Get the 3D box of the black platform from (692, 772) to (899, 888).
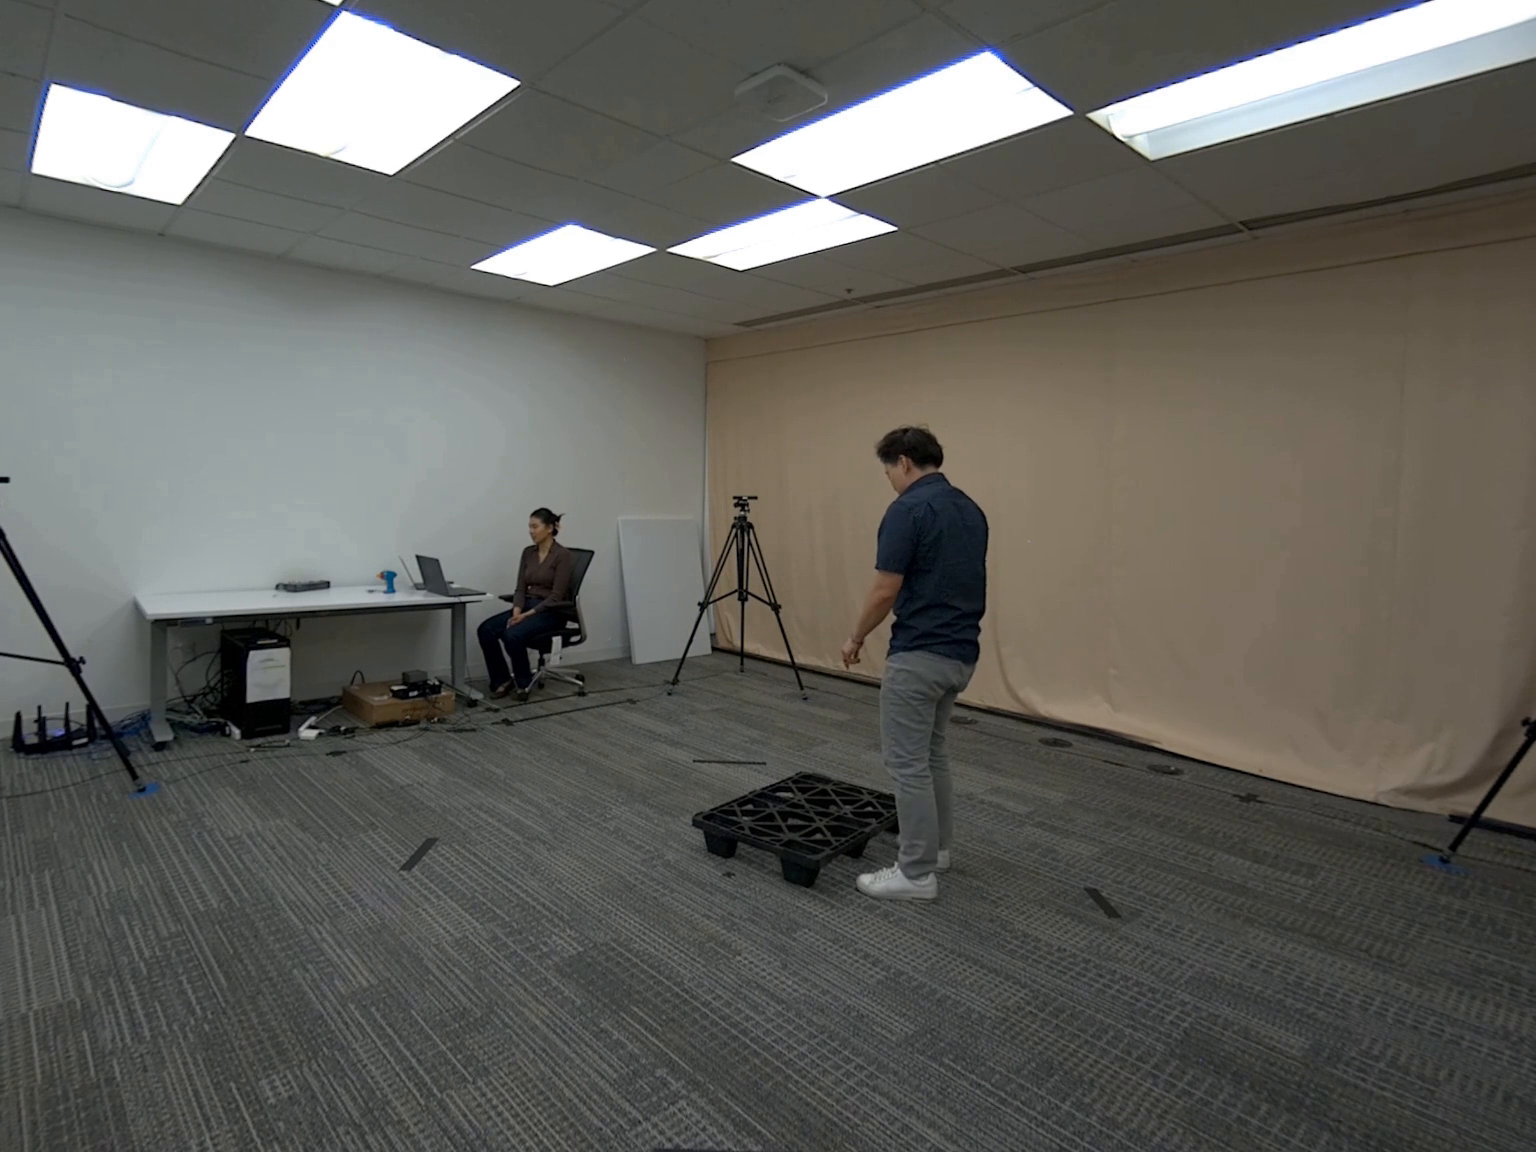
[{"bbox_3d":[0.163,1.016,3.437,0.620,0.143,0.788,6,7,37],"label":"black platform"}]
